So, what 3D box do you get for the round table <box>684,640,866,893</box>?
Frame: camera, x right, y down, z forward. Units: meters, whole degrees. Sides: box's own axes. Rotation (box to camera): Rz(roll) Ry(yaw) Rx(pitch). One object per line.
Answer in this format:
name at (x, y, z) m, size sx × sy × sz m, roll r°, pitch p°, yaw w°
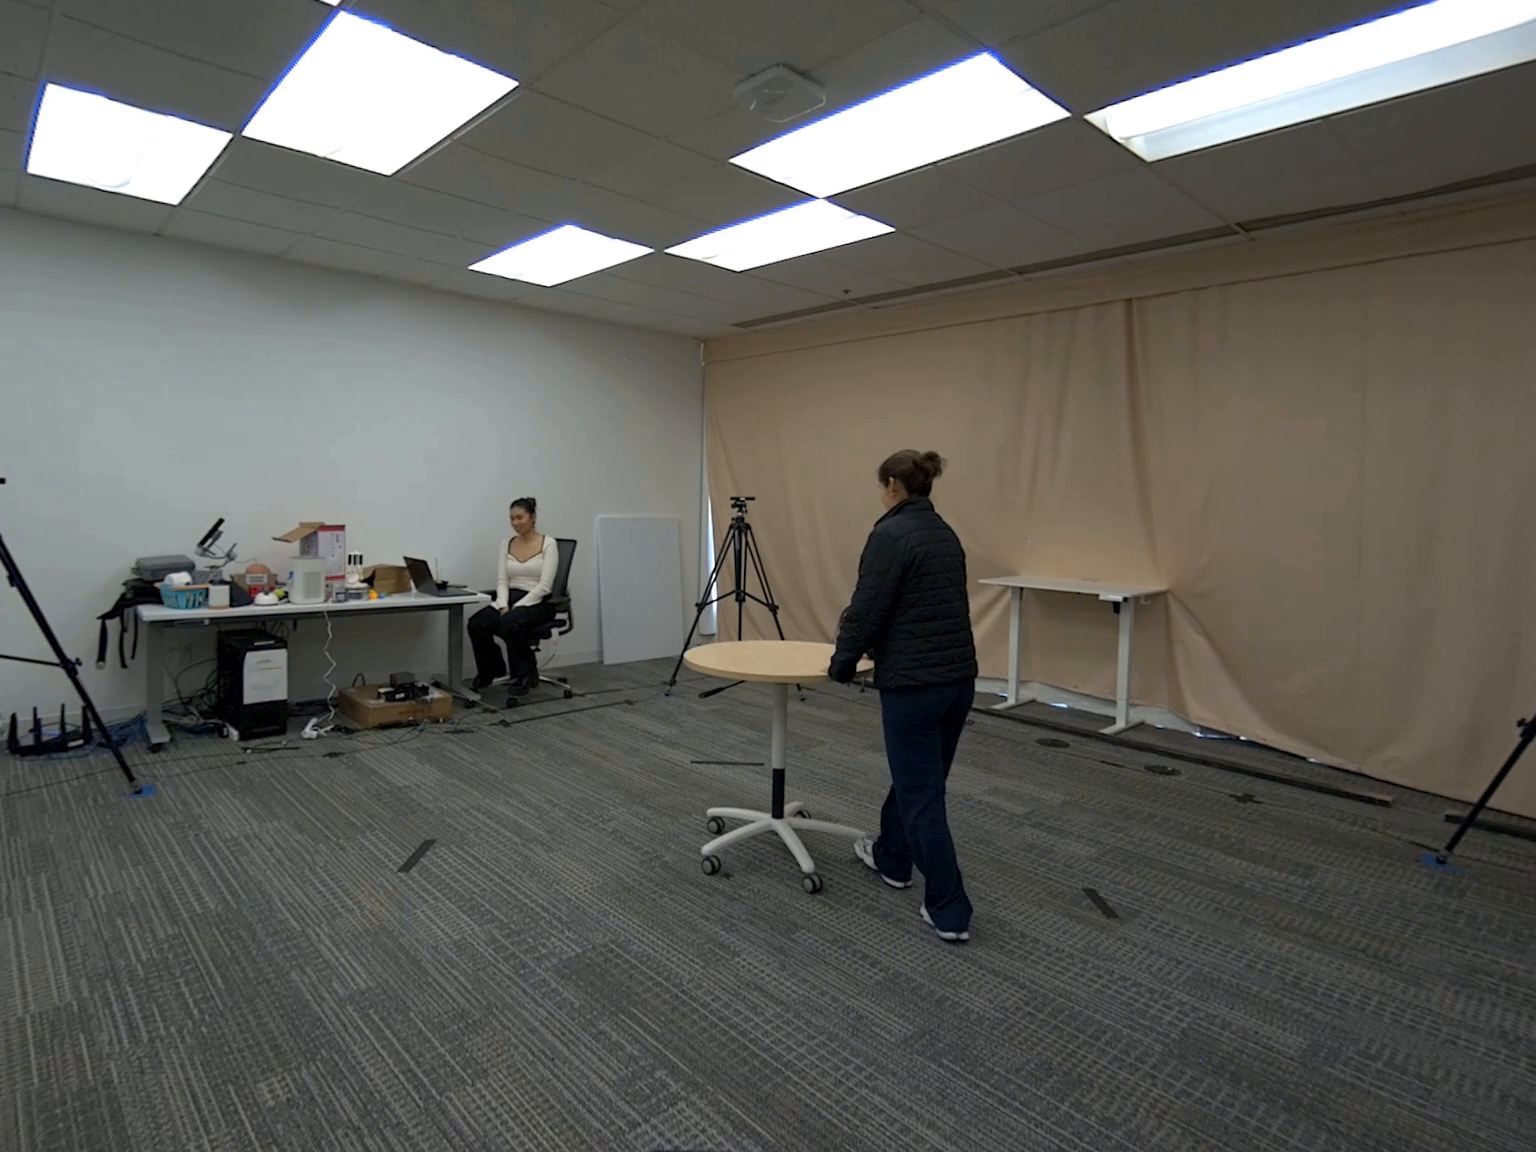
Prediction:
round table at (0.055, 0.700, 3.293) m, size 0.784 × 0.785 × 0.787 m, roll 1°, pitch 3°, yaw -1°
